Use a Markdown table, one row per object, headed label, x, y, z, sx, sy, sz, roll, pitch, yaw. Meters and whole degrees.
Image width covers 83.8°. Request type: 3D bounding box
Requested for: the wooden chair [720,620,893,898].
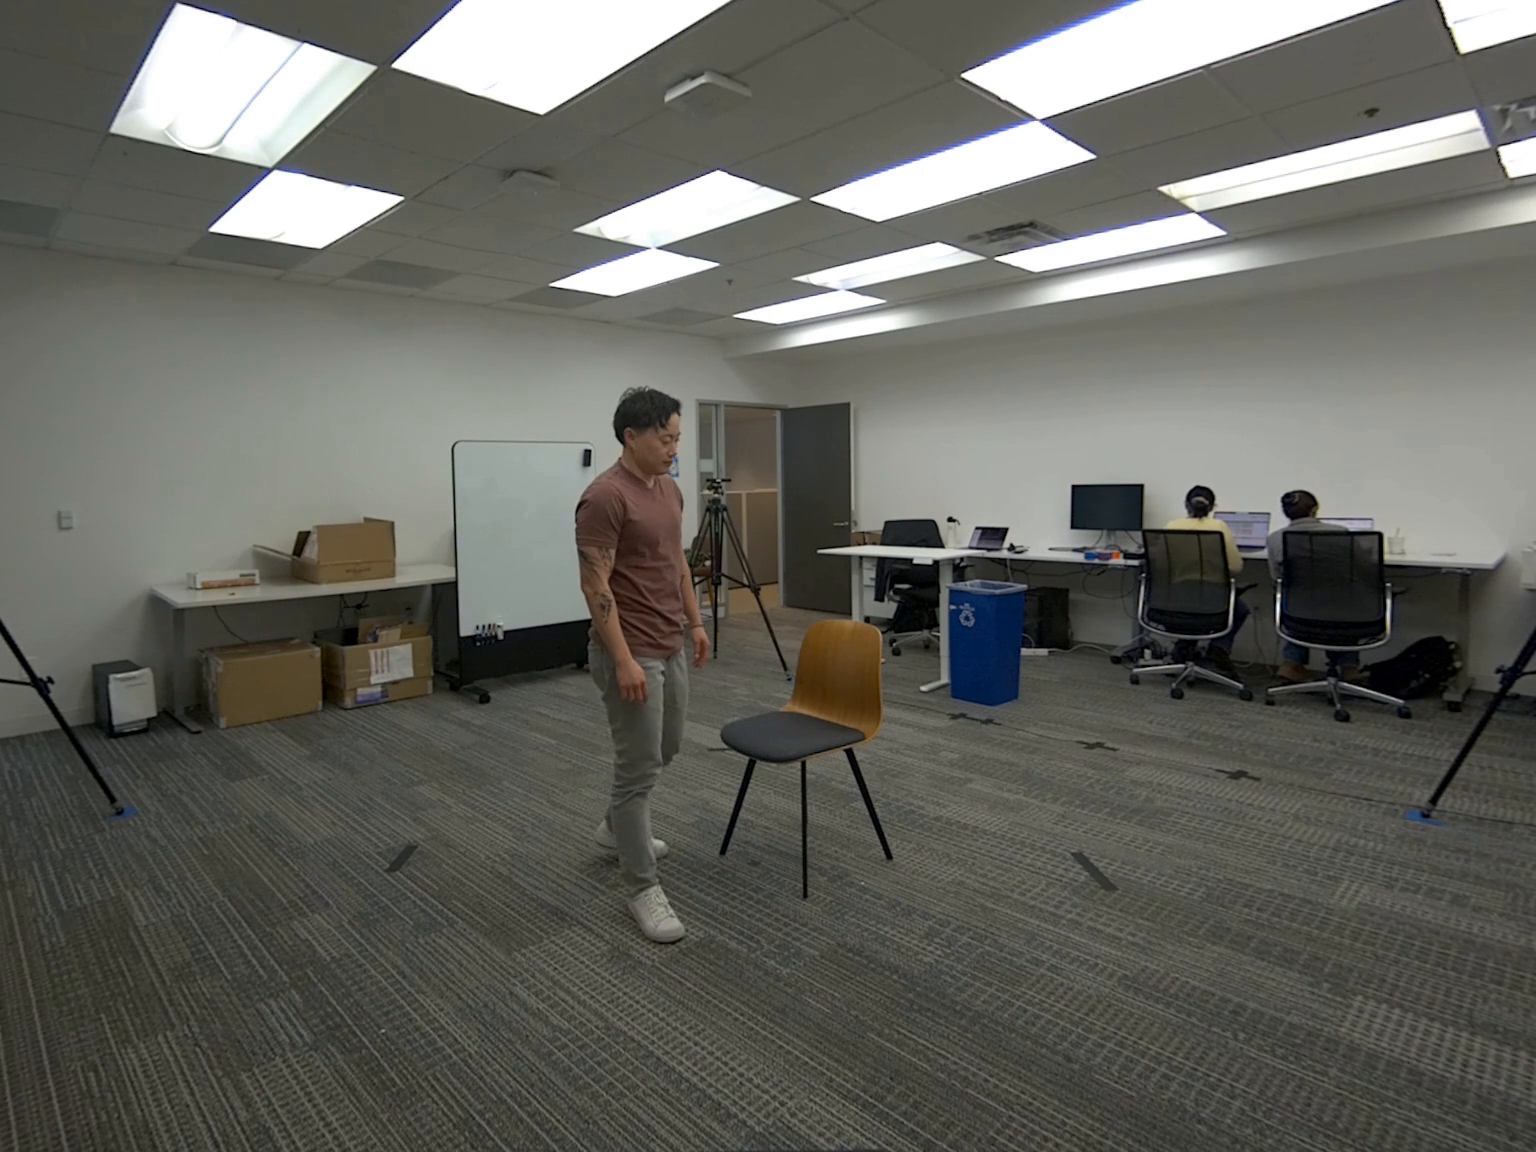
| label | x | y | z | sx | sy | sz | roll | pitch | yaw |
| --- | --- | --- | --- | --- | --- | --- | --- | --- | --- |
| wooden chair | 0.126 | 0.611 | 3.108 | 0.508 | 0.876 | 0.493 | 1 | 2 | -41 |
